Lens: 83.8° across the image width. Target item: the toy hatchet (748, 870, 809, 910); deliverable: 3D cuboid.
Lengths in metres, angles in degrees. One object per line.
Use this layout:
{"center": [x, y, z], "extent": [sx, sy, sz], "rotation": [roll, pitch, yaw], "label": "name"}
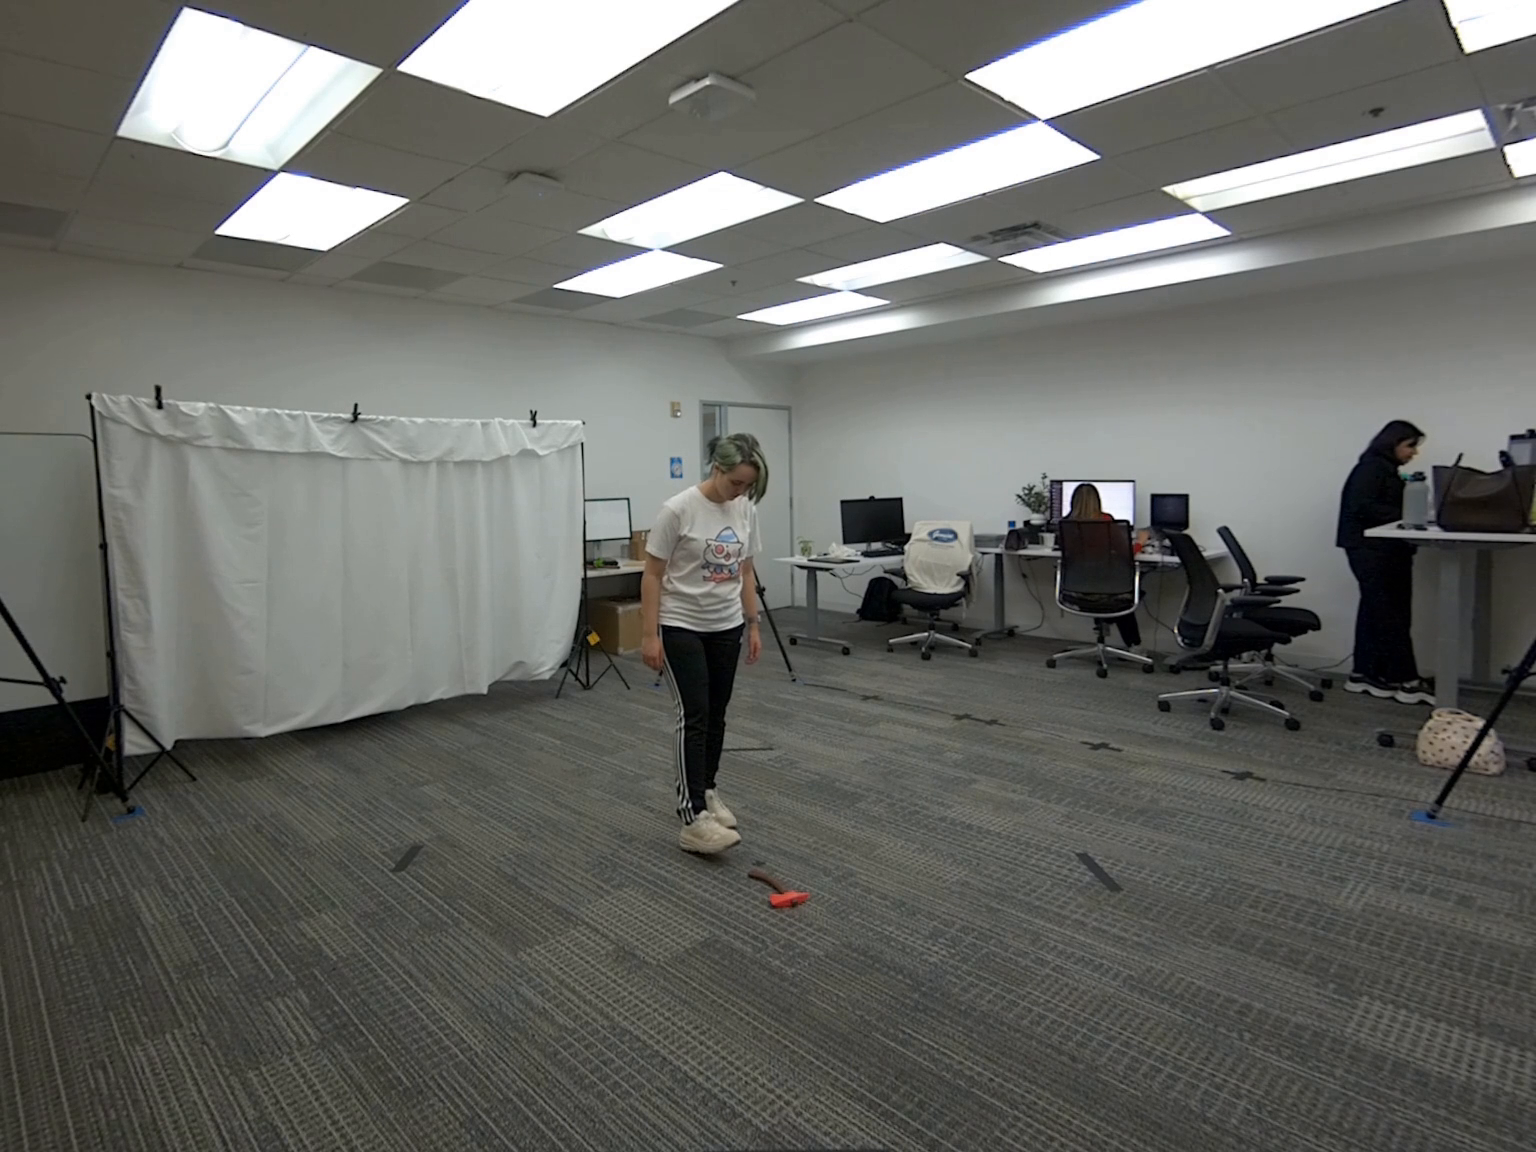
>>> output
{"center": [0.005, 1.063, 2.883], "extent": [0.128, 0.029, 0.278], "rotation": [-9, 8, -42], "label": "toy hatchet"}
